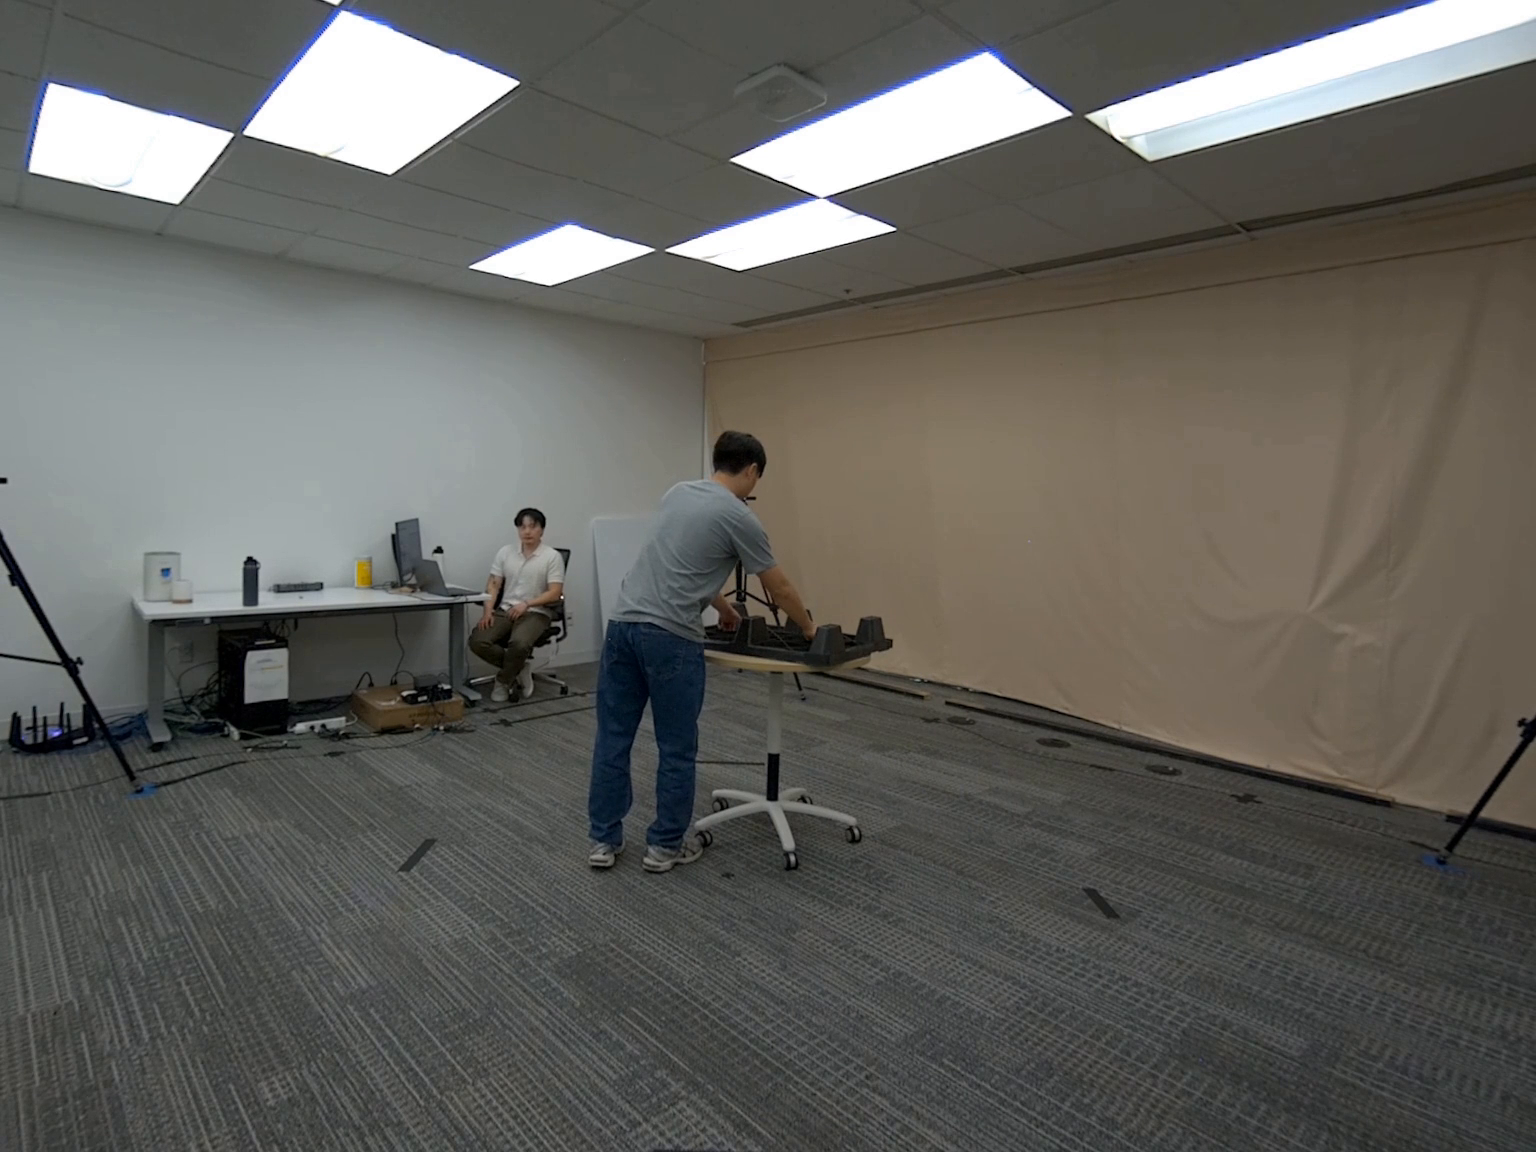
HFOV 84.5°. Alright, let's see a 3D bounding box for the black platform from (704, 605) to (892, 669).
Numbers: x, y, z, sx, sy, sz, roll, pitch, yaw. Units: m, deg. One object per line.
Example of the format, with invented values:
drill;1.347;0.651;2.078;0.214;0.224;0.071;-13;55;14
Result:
black platform;0.026;0.230;3.523;0.824;0.143;0.592;4;5;33
